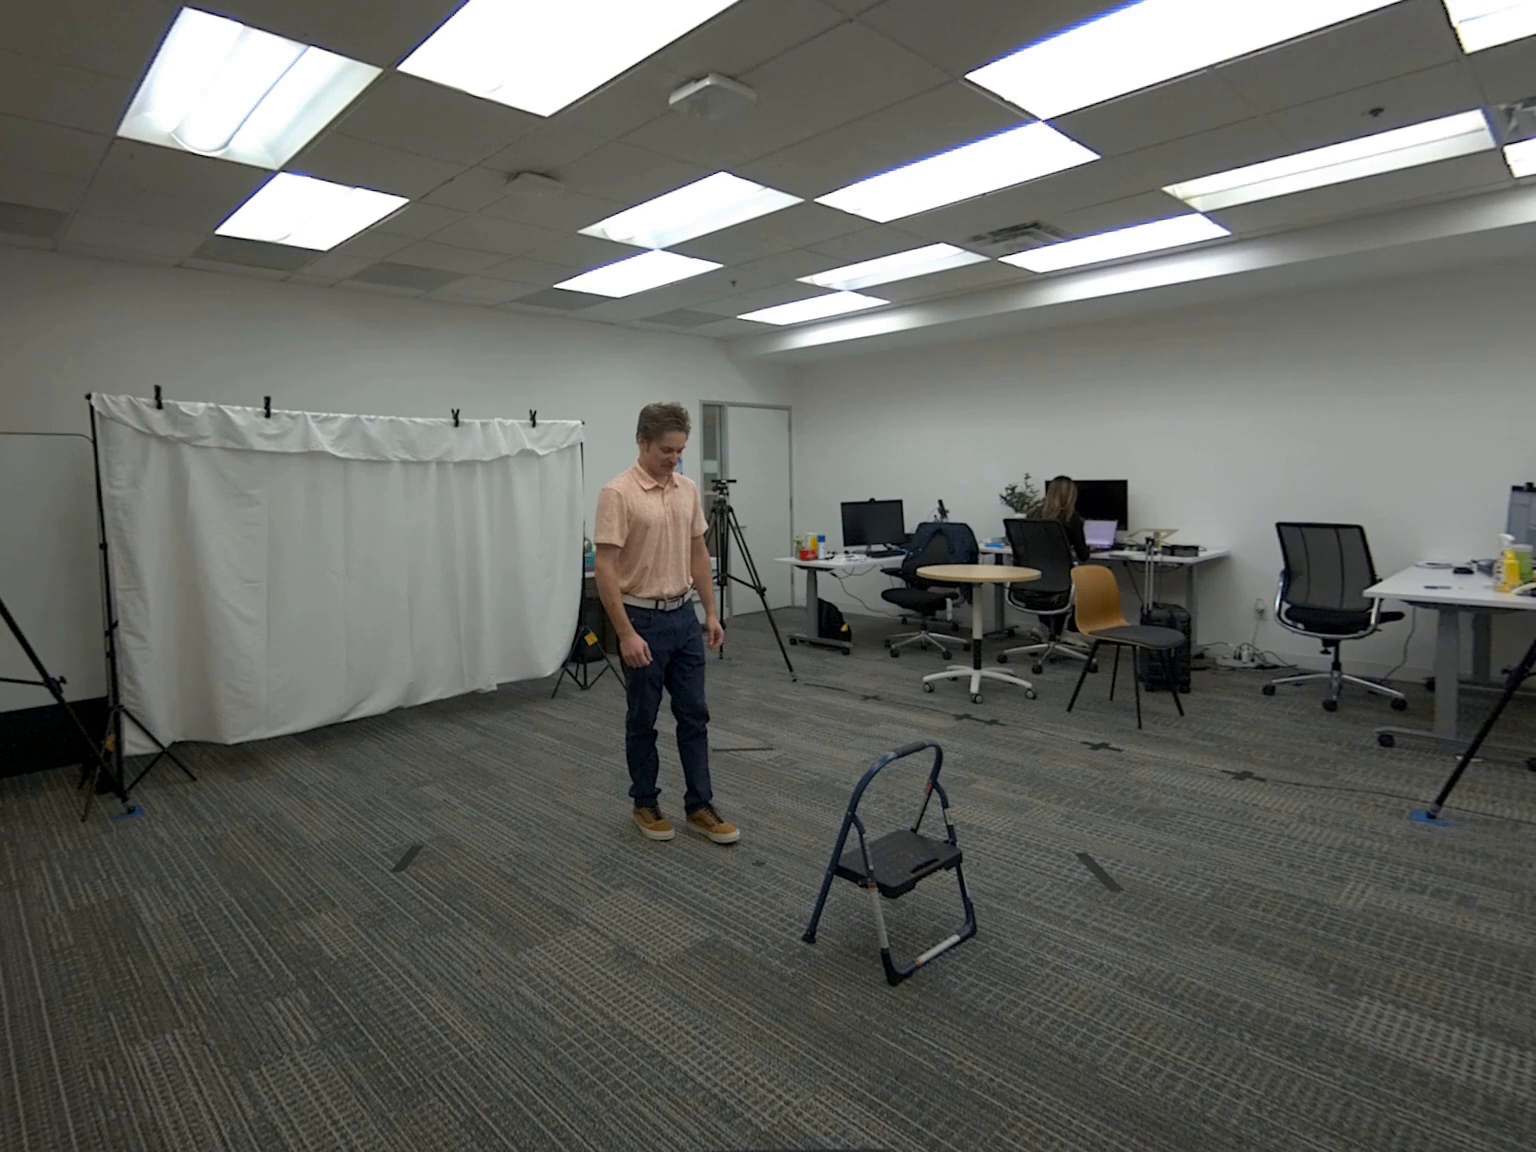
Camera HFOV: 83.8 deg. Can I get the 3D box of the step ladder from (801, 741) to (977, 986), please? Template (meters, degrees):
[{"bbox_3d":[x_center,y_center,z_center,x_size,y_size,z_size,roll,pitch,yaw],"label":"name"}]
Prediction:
[{"bbox_3d":[0.372,0.796,2.584,0.419,0.604,0.360,-6,6,-43],"label":"step ladder"}]
